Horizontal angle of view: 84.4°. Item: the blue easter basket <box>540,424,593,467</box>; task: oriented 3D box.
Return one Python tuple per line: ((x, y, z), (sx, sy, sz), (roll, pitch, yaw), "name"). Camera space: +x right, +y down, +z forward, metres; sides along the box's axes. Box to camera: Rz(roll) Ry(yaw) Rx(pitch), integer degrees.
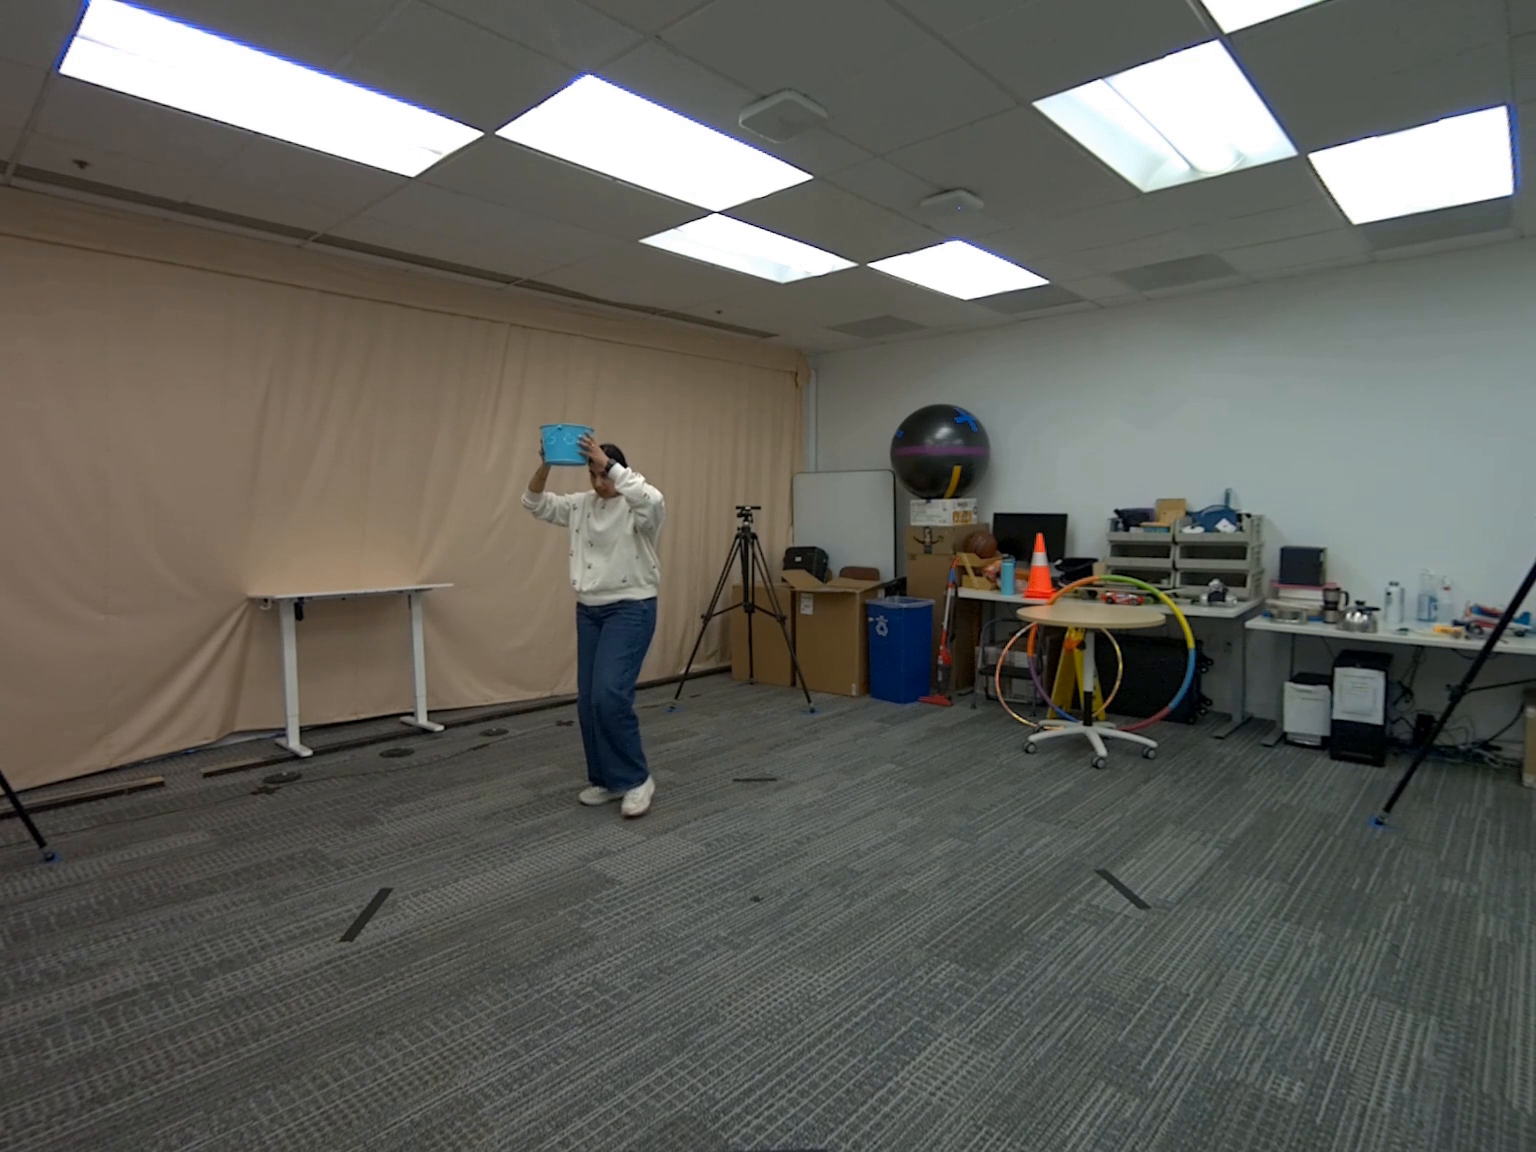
((-0.885, -0.568, 3.654), (0.243, 0.156, 0.244), (1, -1, -2), "blue easter basket")
